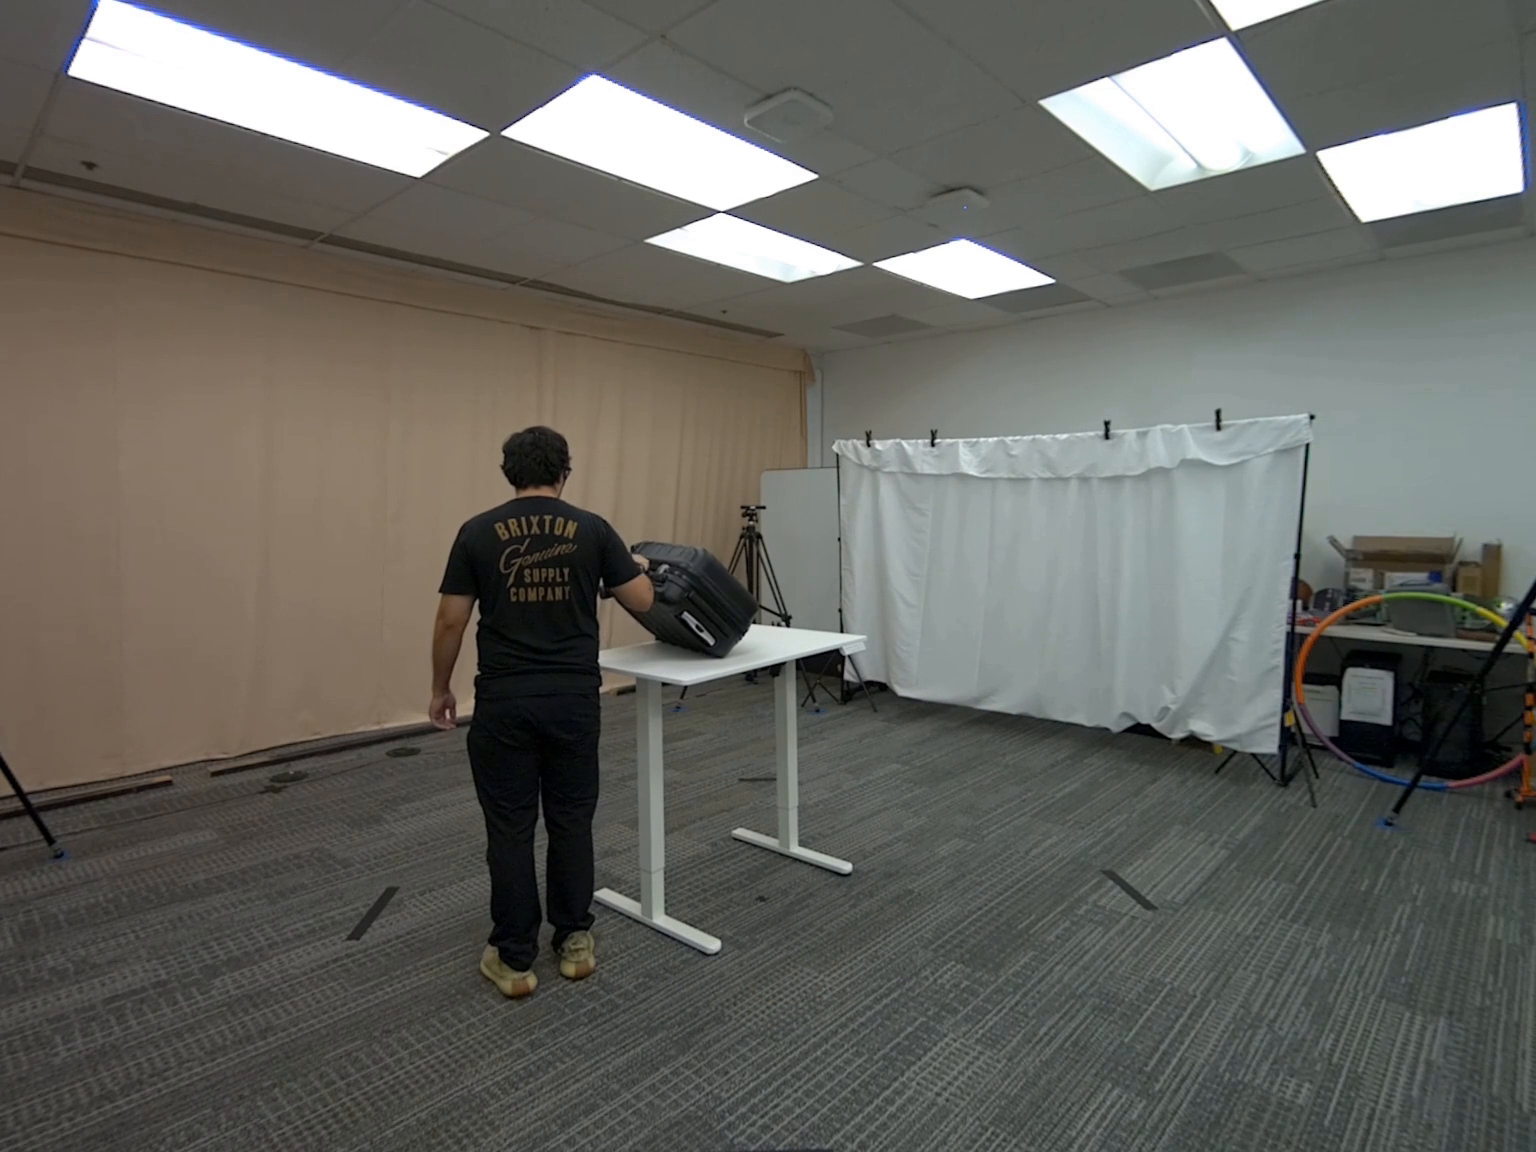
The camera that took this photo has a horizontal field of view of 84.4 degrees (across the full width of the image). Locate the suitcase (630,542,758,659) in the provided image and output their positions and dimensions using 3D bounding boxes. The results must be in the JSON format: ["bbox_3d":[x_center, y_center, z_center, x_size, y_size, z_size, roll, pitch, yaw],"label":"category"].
[{"bbox_3d":[-0.317,0.076,2.971,0.365,0.247,0.566,48,-23,-27],"label":"suitcase"}]
